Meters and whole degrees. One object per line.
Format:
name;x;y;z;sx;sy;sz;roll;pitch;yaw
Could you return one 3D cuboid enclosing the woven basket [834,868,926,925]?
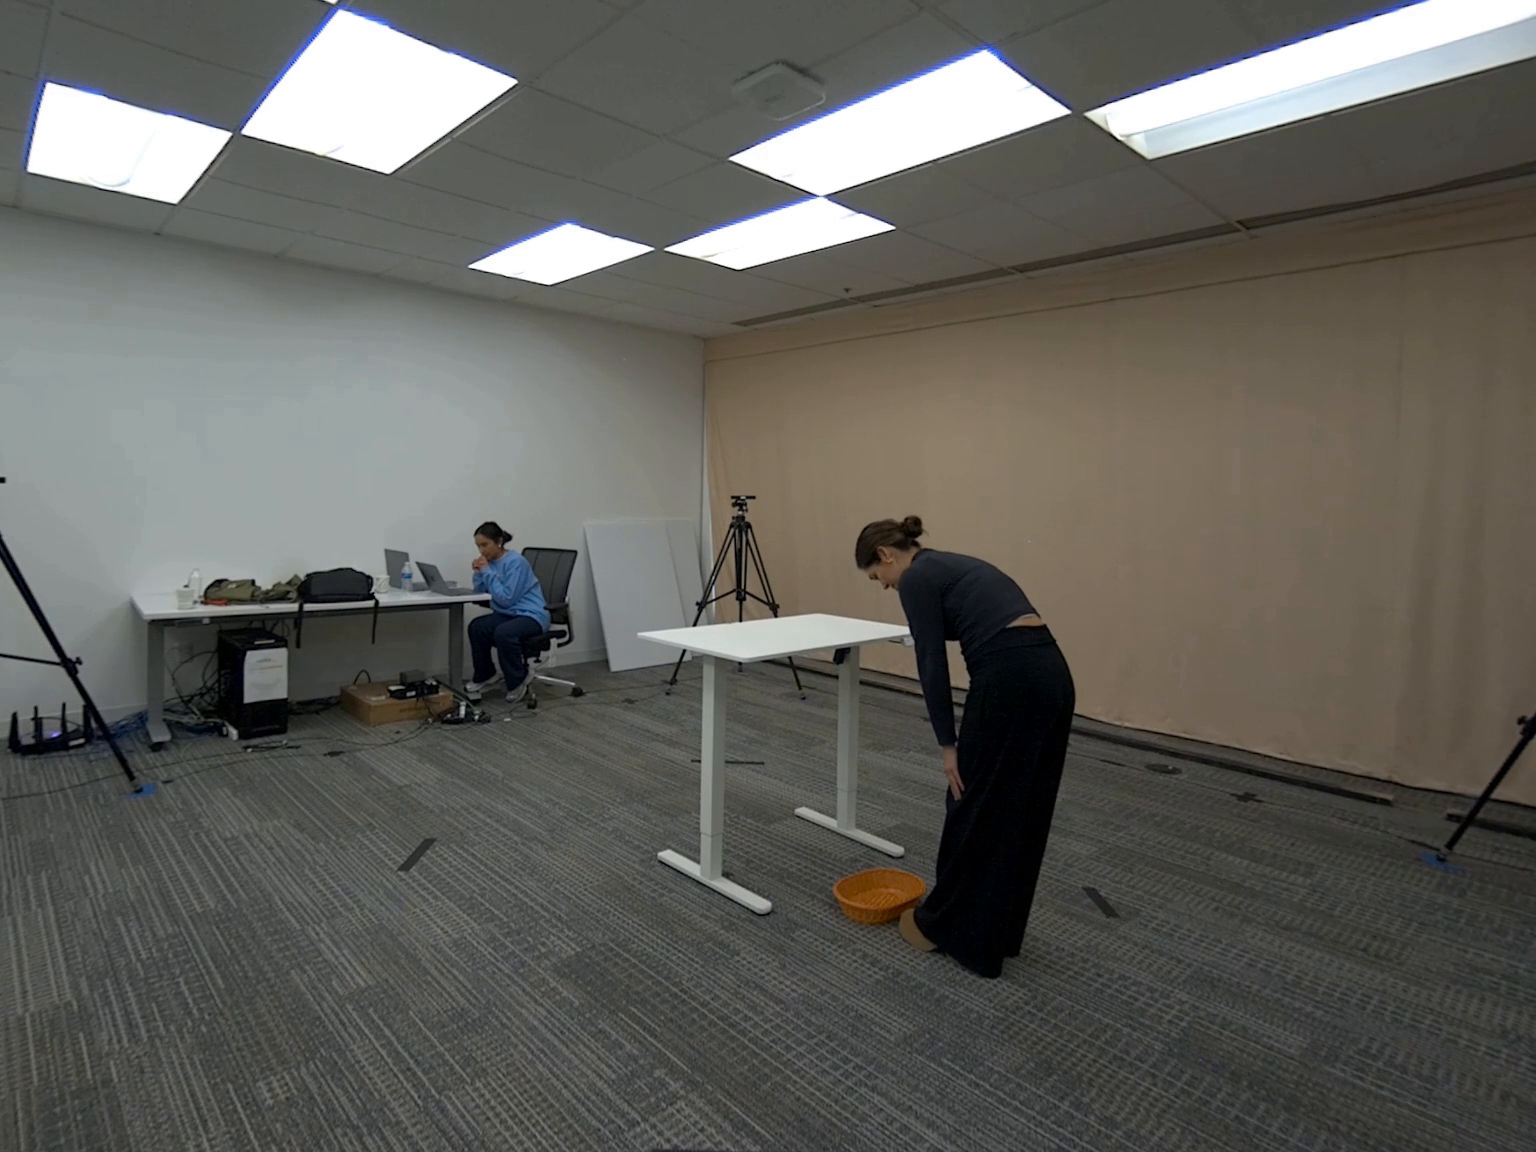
woven basket;0.374;1.089;2.884;0.342;0.073;0.259;-2;5;-39
